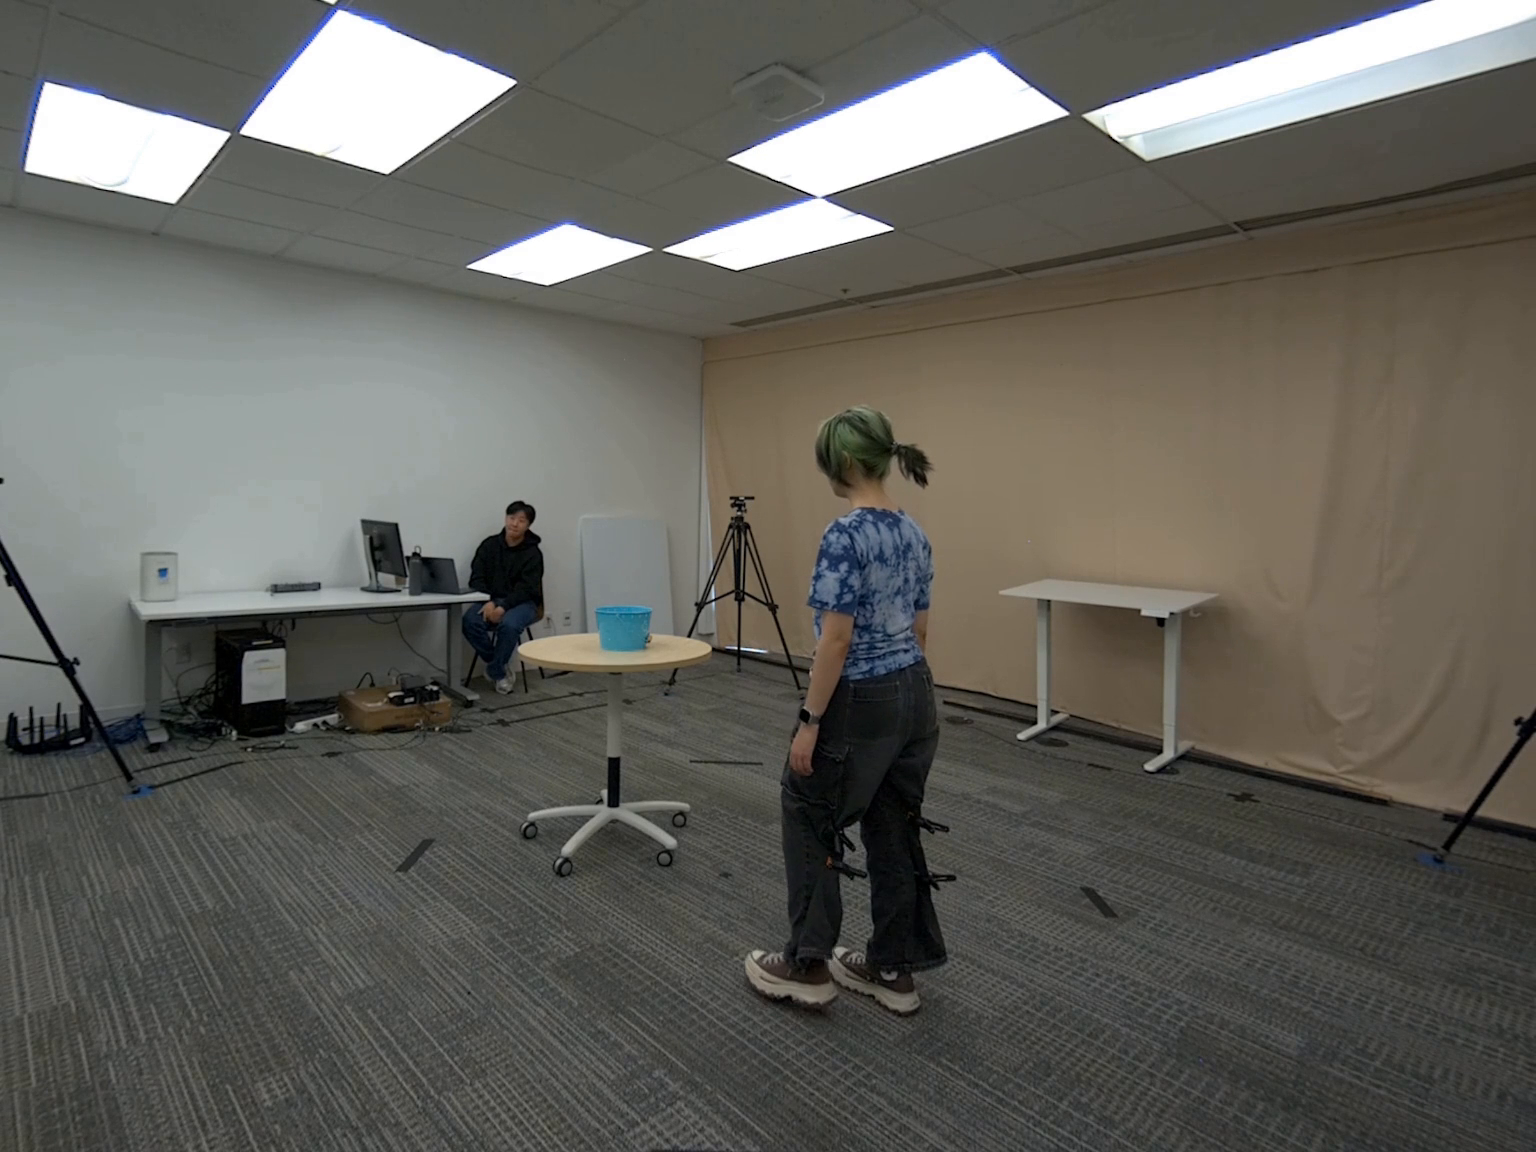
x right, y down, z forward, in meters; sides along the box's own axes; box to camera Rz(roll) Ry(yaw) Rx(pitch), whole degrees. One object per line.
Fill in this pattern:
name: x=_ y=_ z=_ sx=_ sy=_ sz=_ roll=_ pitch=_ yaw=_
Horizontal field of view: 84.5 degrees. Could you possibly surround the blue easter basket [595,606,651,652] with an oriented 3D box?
blue easter basket: x=-0.587 y=0.212 z=3.357 sx=0.243 sy=0.155 sz=0.244 roll=1 pitch=4 yaw=-1
